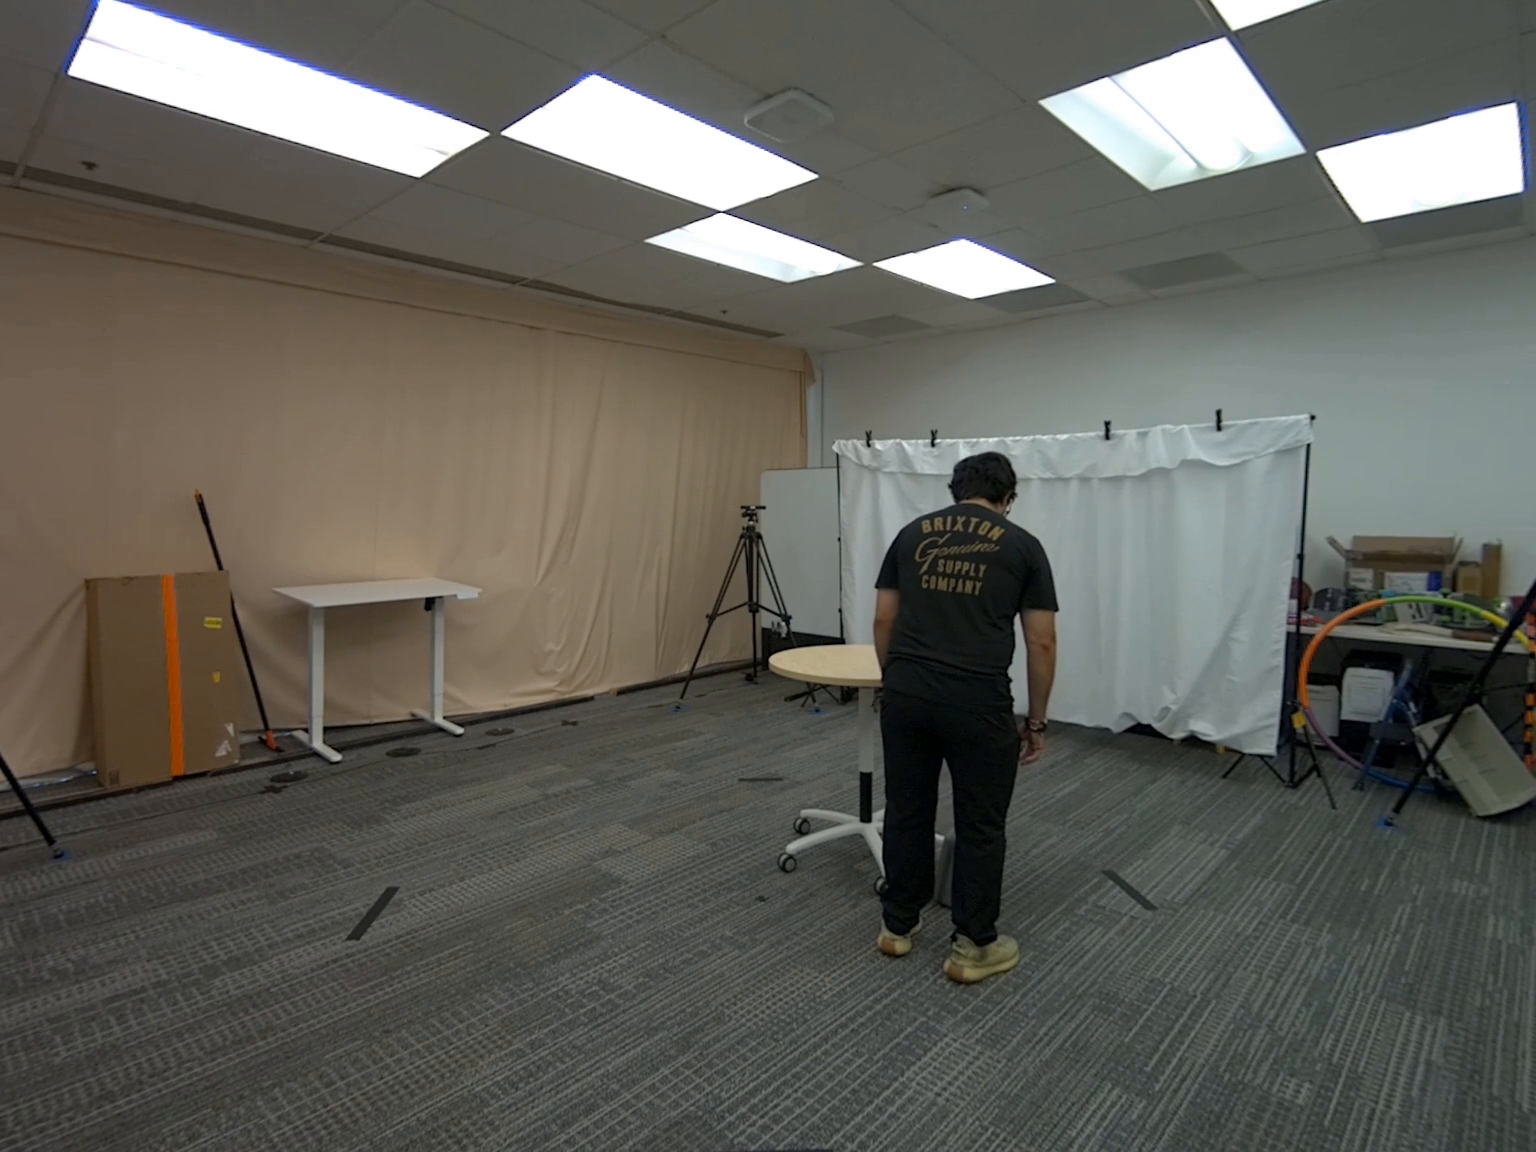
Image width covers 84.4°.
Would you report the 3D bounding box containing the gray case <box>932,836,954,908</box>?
[{"bbox_3d":[0.697,1.014,2.989,0.108,0.259,0.249,13,10,32],"label":"gray case"}]
